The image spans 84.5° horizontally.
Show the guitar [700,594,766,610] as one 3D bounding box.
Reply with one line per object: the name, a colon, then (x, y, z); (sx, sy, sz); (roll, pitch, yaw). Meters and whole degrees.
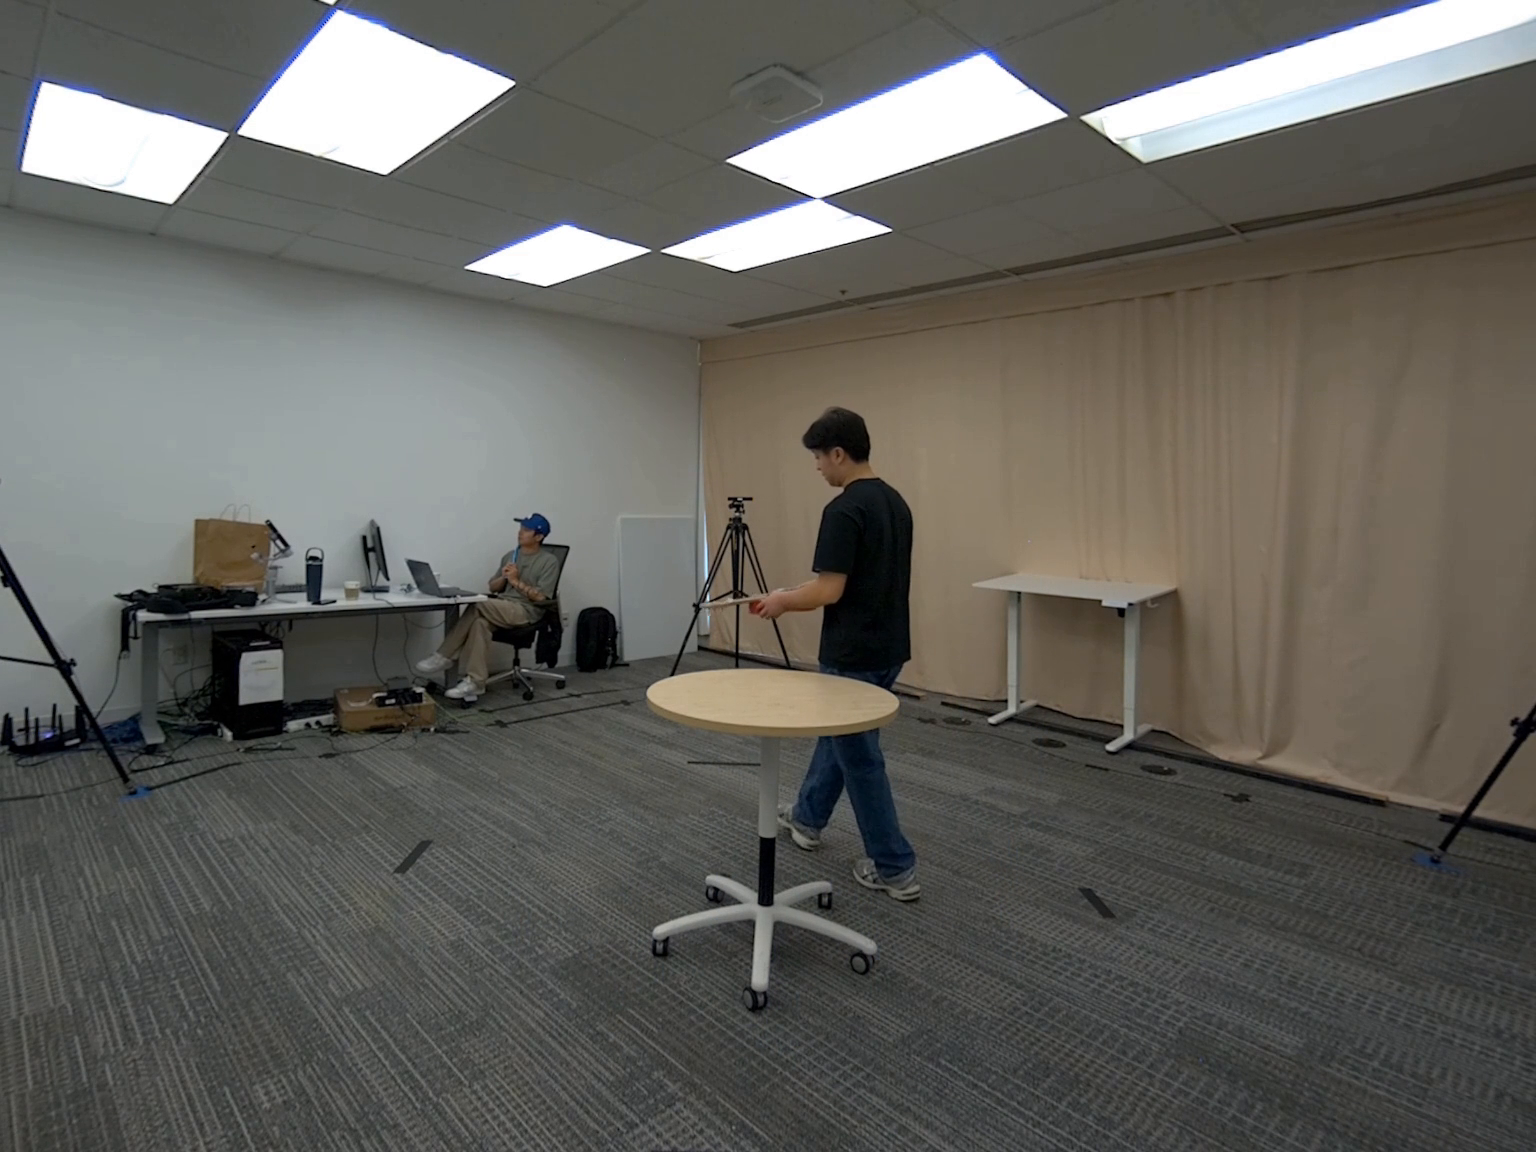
guitar: (-0.063, 0.113, 3.255); (0.491, 0.070, 0.197); (-4, 11, -19)
